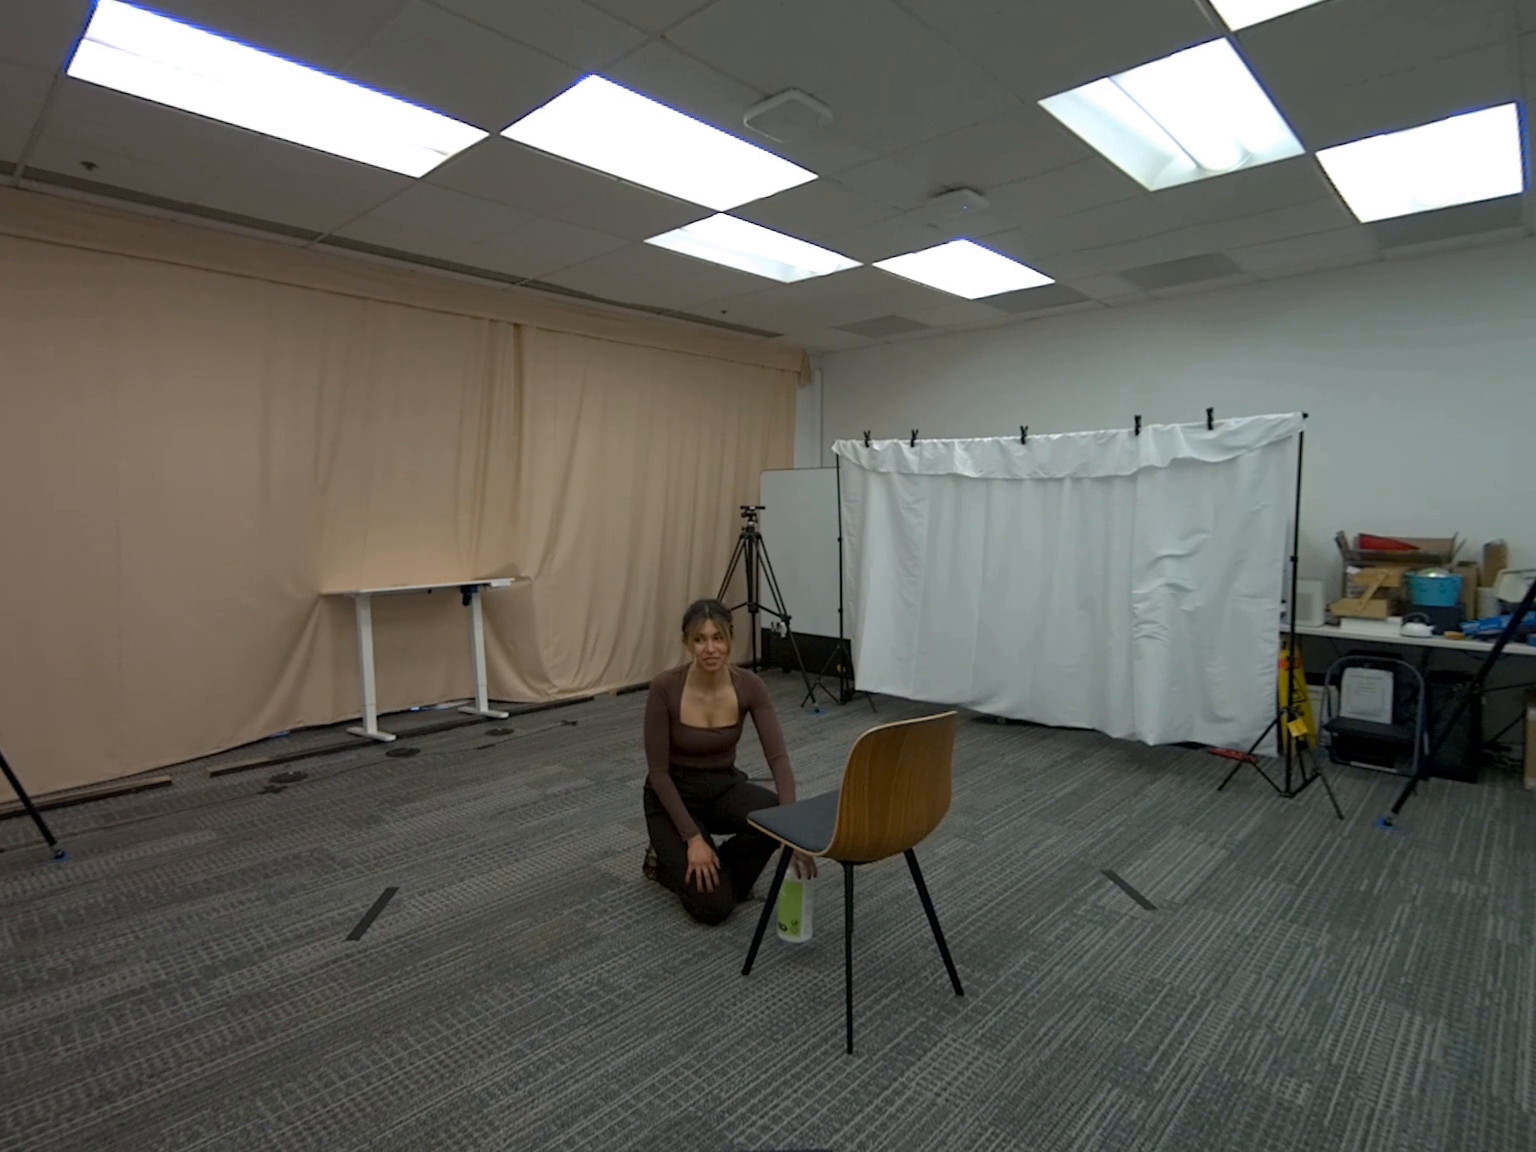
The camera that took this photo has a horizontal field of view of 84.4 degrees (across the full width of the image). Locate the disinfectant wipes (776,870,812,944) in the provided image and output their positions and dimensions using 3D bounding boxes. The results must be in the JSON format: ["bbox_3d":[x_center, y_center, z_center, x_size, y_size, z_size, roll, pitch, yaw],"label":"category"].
[{"bbox_3d":[0.089,1.016,2.599,0.117,0.217,0.118,3,2,-2],"label":"disinfectant wipes"}]
